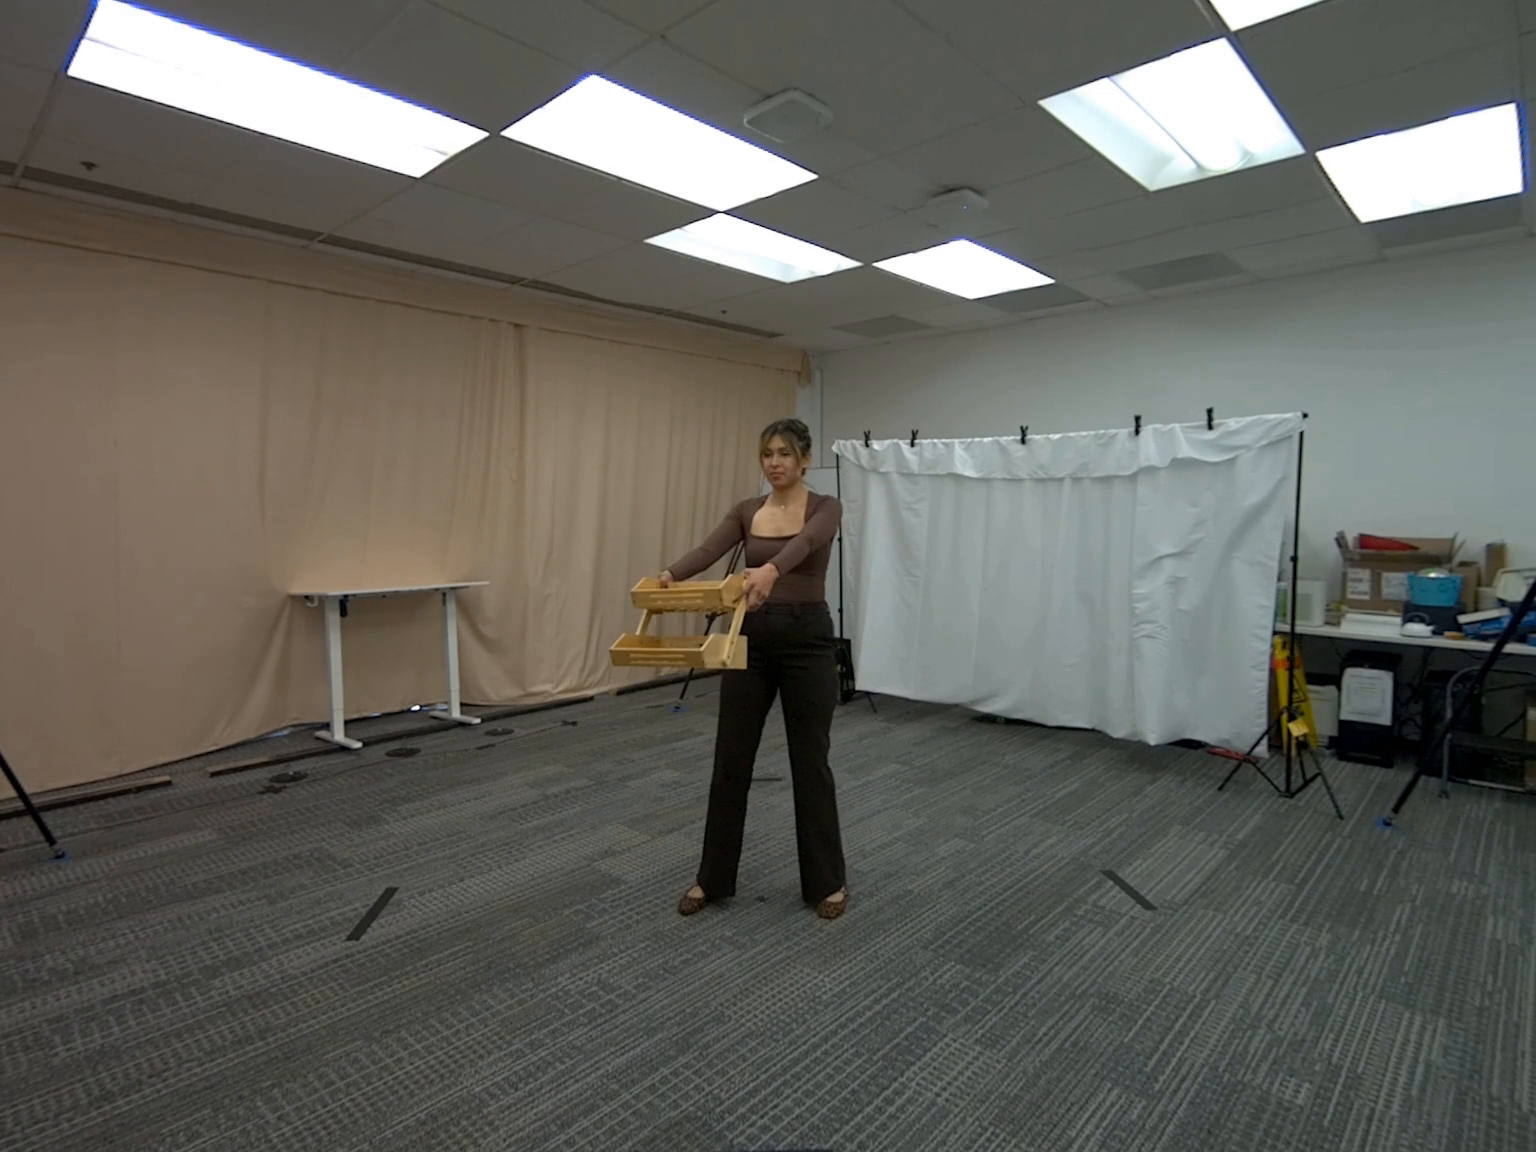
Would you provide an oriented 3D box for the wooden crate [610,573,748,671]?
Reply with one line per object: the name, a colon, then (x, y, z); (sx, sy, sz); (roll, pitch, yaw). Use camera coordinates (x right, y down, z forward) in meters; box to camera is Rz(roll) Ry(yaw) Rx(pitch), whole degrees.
wooden crate: (-0.236, 0.127, 2.401); (0.333, 0.274, 0.293); (-3, -8, 29)
